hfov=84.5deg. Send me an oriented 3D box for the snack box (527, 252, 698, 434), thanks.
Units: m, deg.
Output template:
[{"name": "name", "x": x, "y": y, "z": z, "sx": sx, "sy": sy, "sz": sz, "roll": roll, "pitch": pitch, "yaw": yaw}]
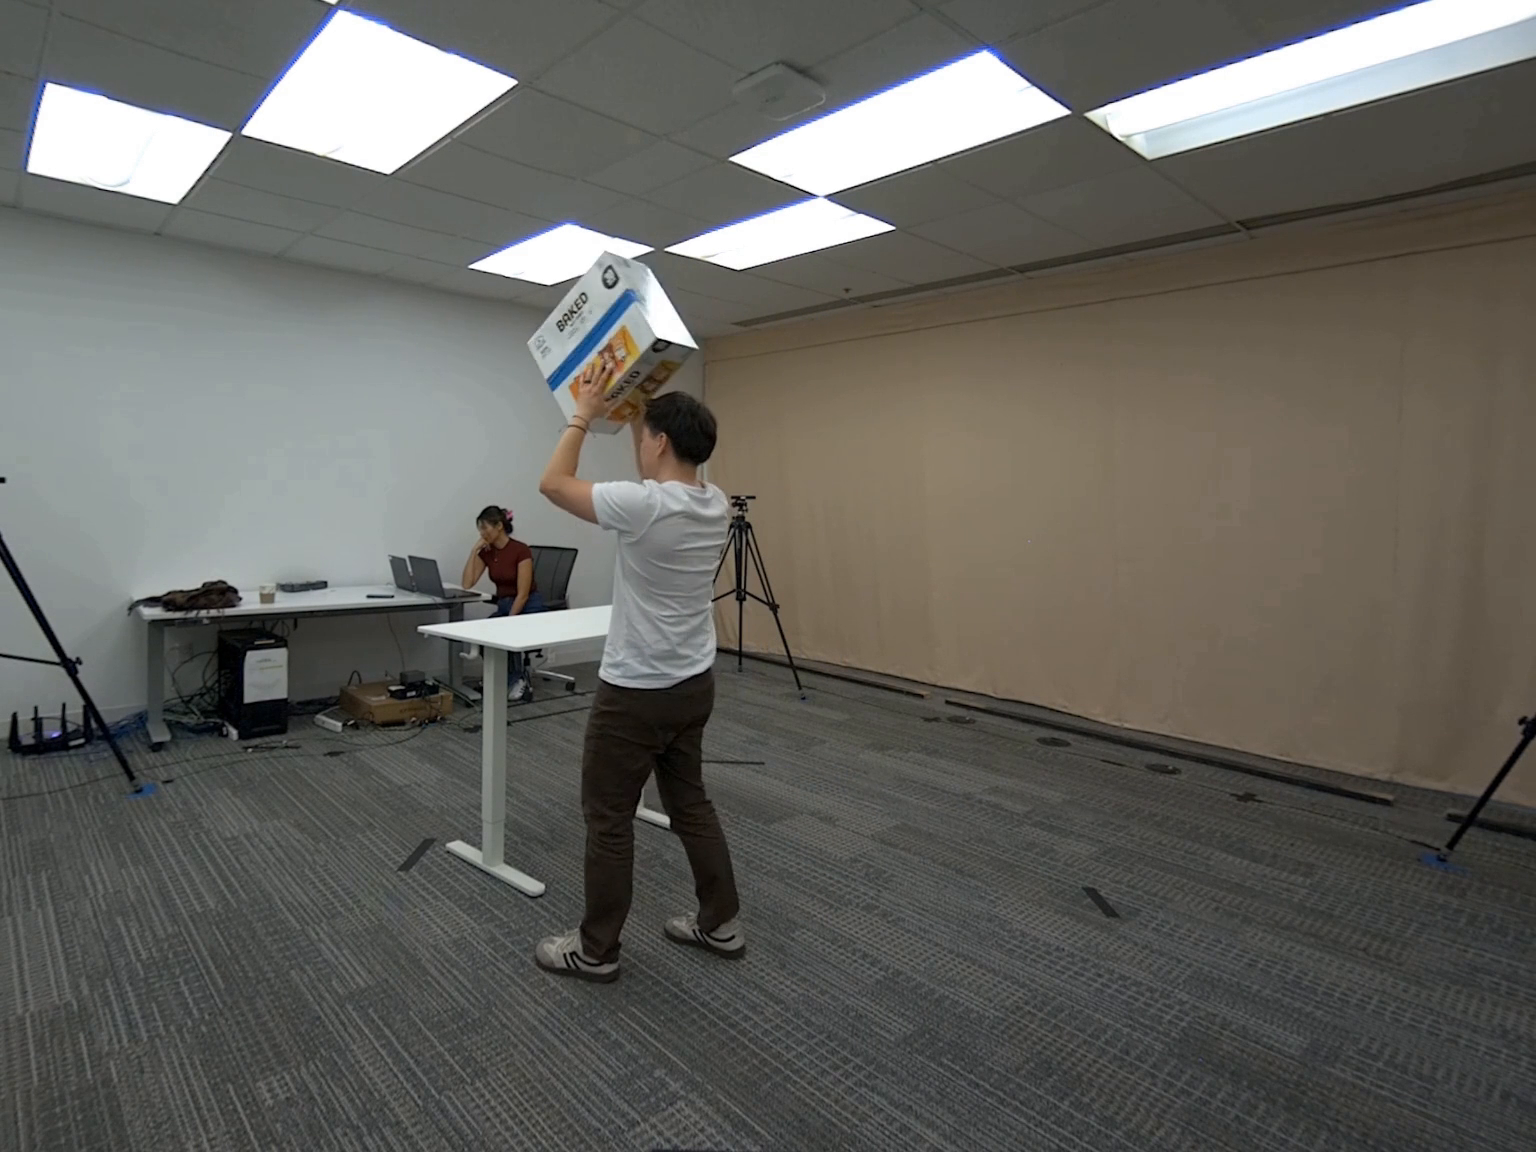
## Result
[{"name": "snack box", "x": -0.489, "y": -0.690, "z": 2.551, "sx": 0.406, "sy": 0.346, "sz": 0.201, "roll": -39, "pitch": -19, "yaw": 28}]
